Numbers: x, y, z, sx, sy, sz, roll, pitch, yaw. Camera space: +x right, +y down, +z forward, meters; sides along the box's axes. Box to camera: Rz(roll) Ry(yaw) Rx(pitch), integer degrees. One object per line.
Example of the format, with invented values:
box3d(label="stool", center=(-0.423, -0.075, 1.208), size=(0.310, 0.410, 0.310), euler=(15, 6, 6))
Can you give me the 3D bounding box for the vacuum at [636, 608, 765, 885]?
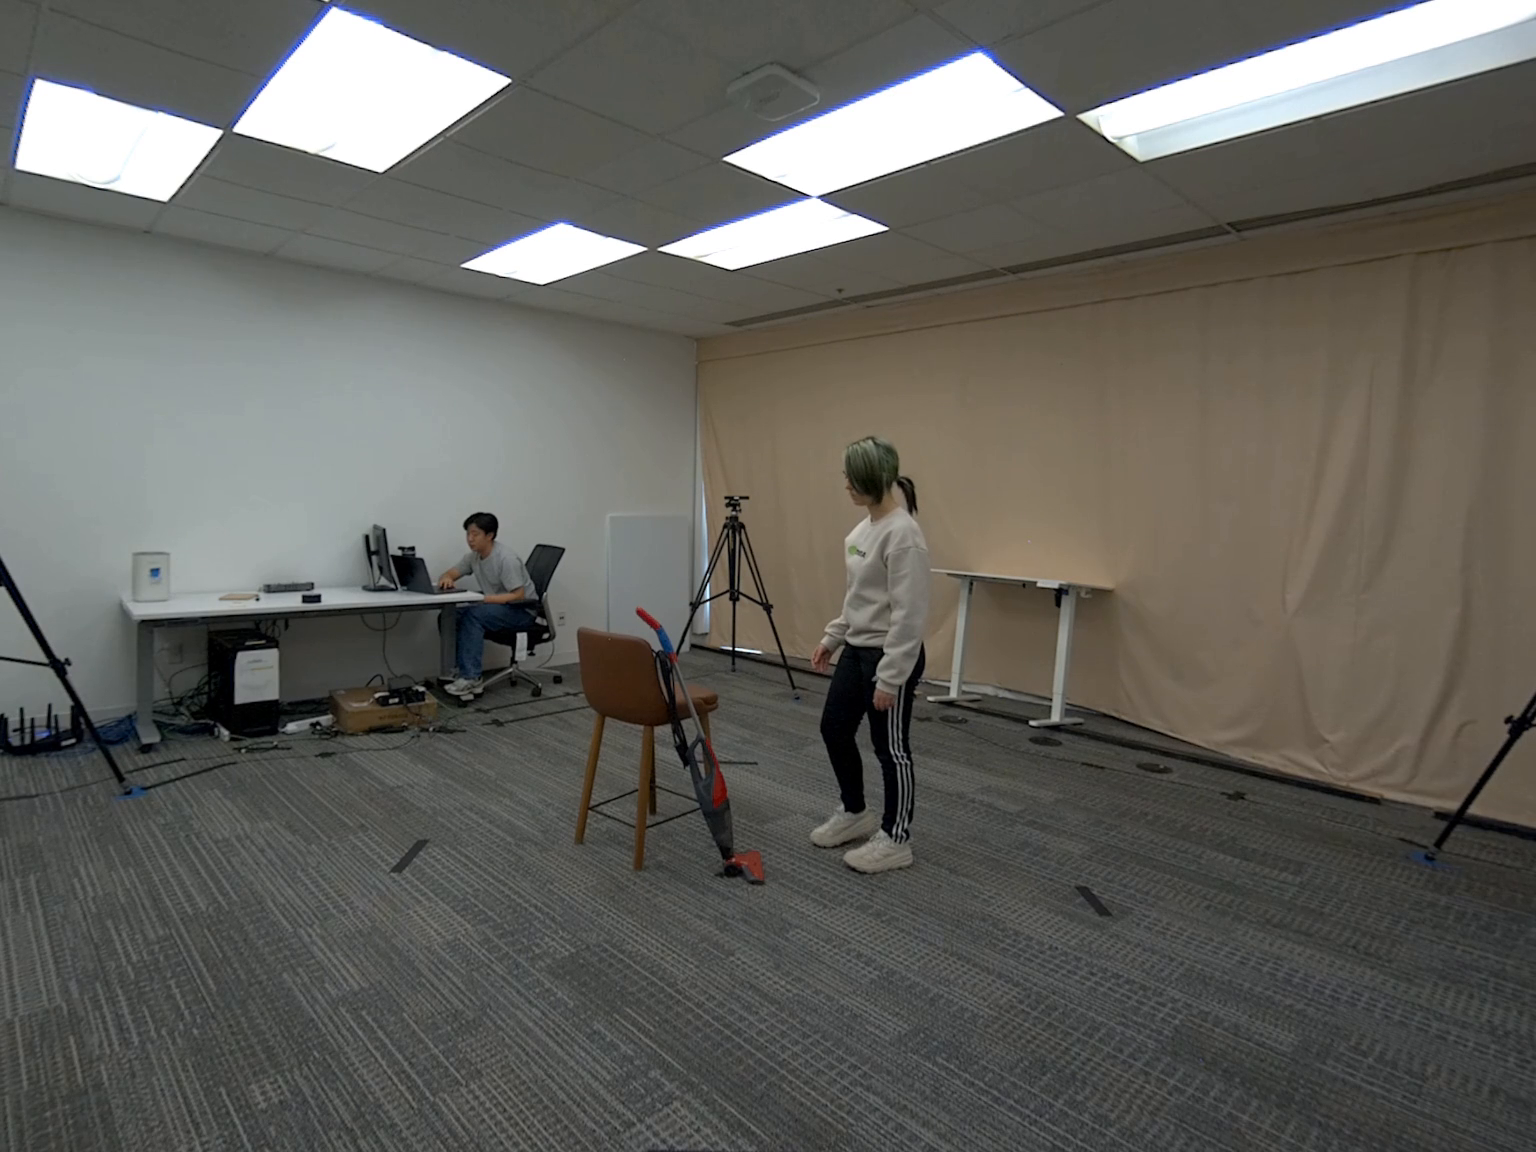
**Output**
box3d(label="vacuum", center=(-0.289, 0.612, 3.122), size=(0.143, 1.046, 0.254), euler=(-21, 3, -6))
